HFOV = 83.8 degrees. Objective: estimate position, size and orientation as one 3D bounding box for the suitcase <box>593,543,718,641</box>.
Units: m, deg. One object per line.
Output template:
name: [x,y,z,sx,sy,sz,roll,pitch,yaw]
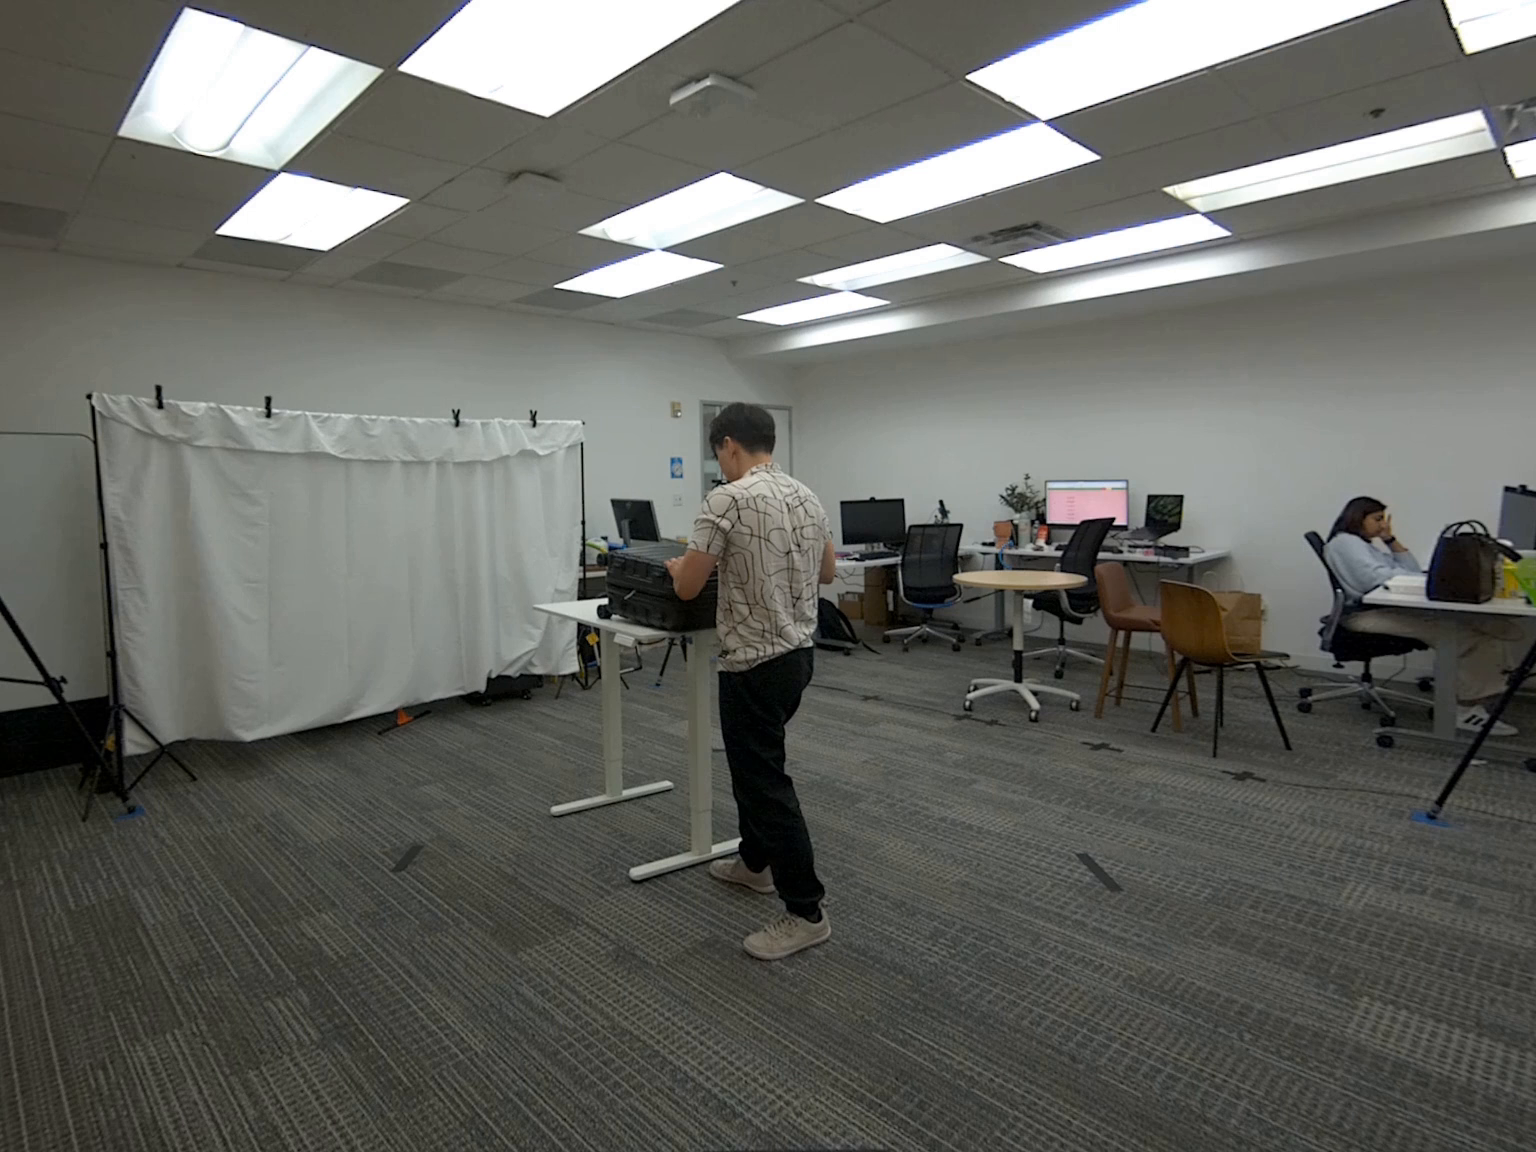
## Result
suitcase: [-0.330,0.038,3.117,0.366,0.247,0.567,-7,10,-40]
